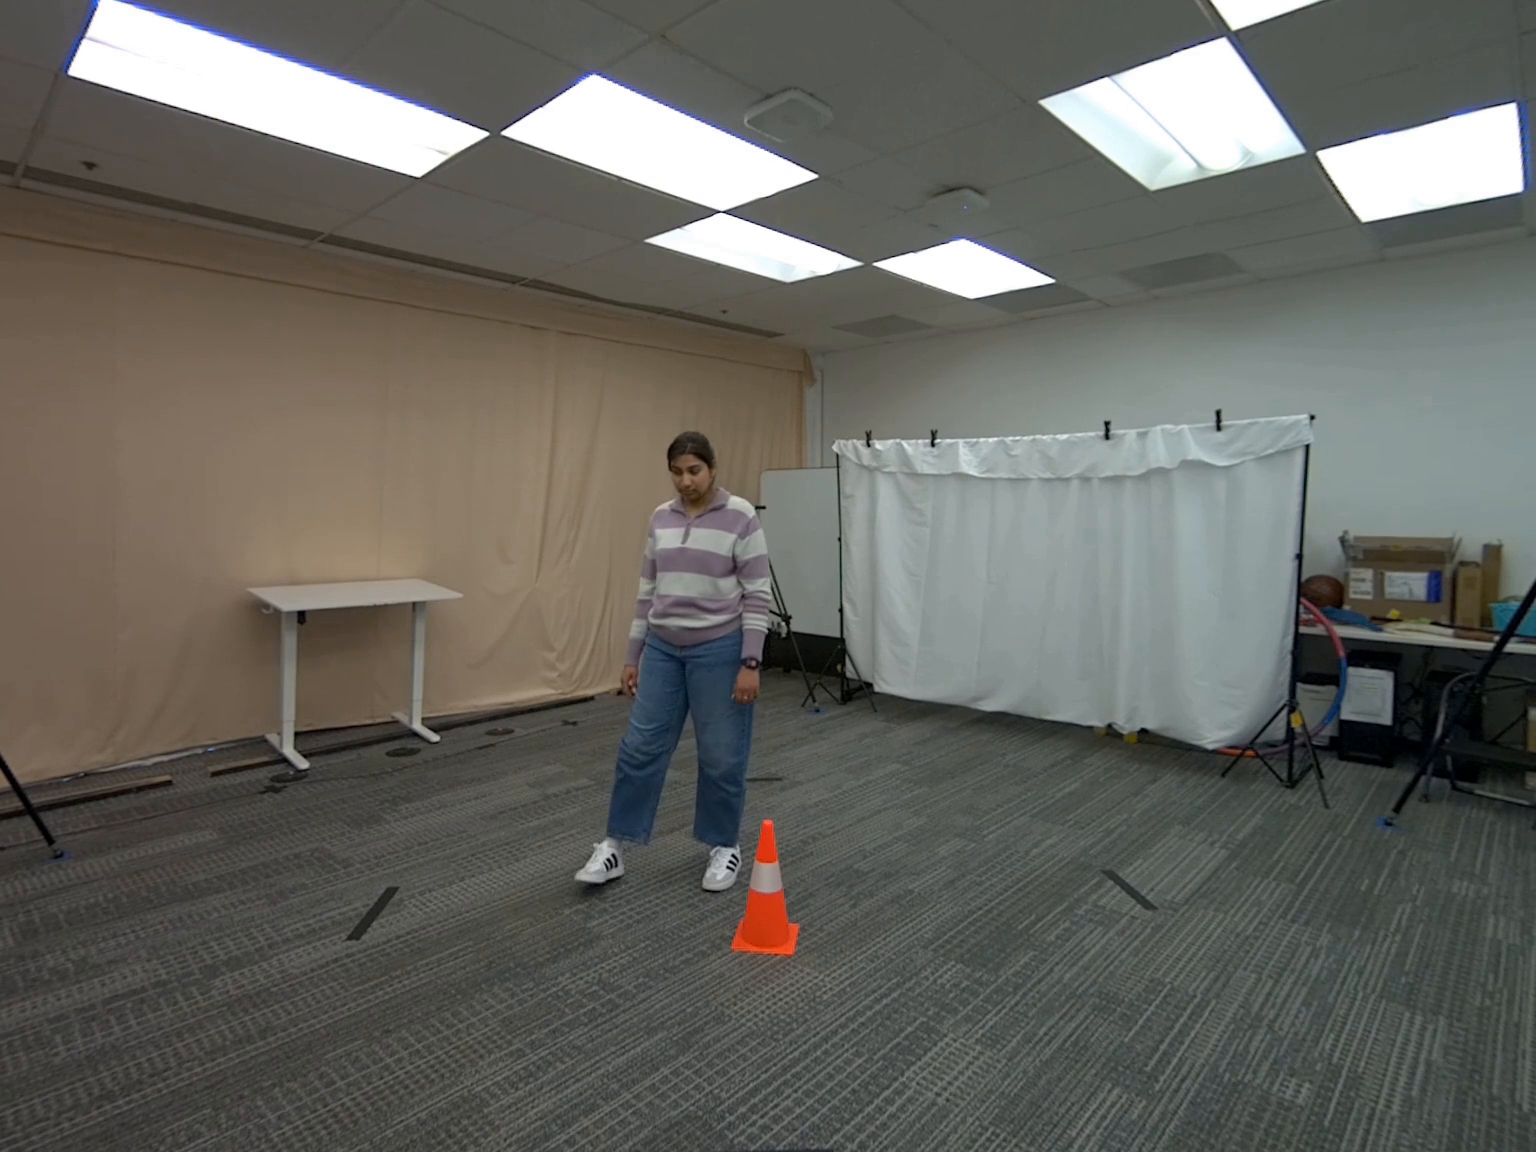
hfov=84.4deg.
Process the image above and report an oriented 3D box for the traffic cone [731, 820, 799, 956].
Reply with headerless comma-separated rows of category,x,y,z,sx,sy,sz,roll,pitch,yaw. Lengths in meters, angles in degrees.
traffic cone,-0.007,0.979,2.715,0.208,0.383,0.201,1,2,11
